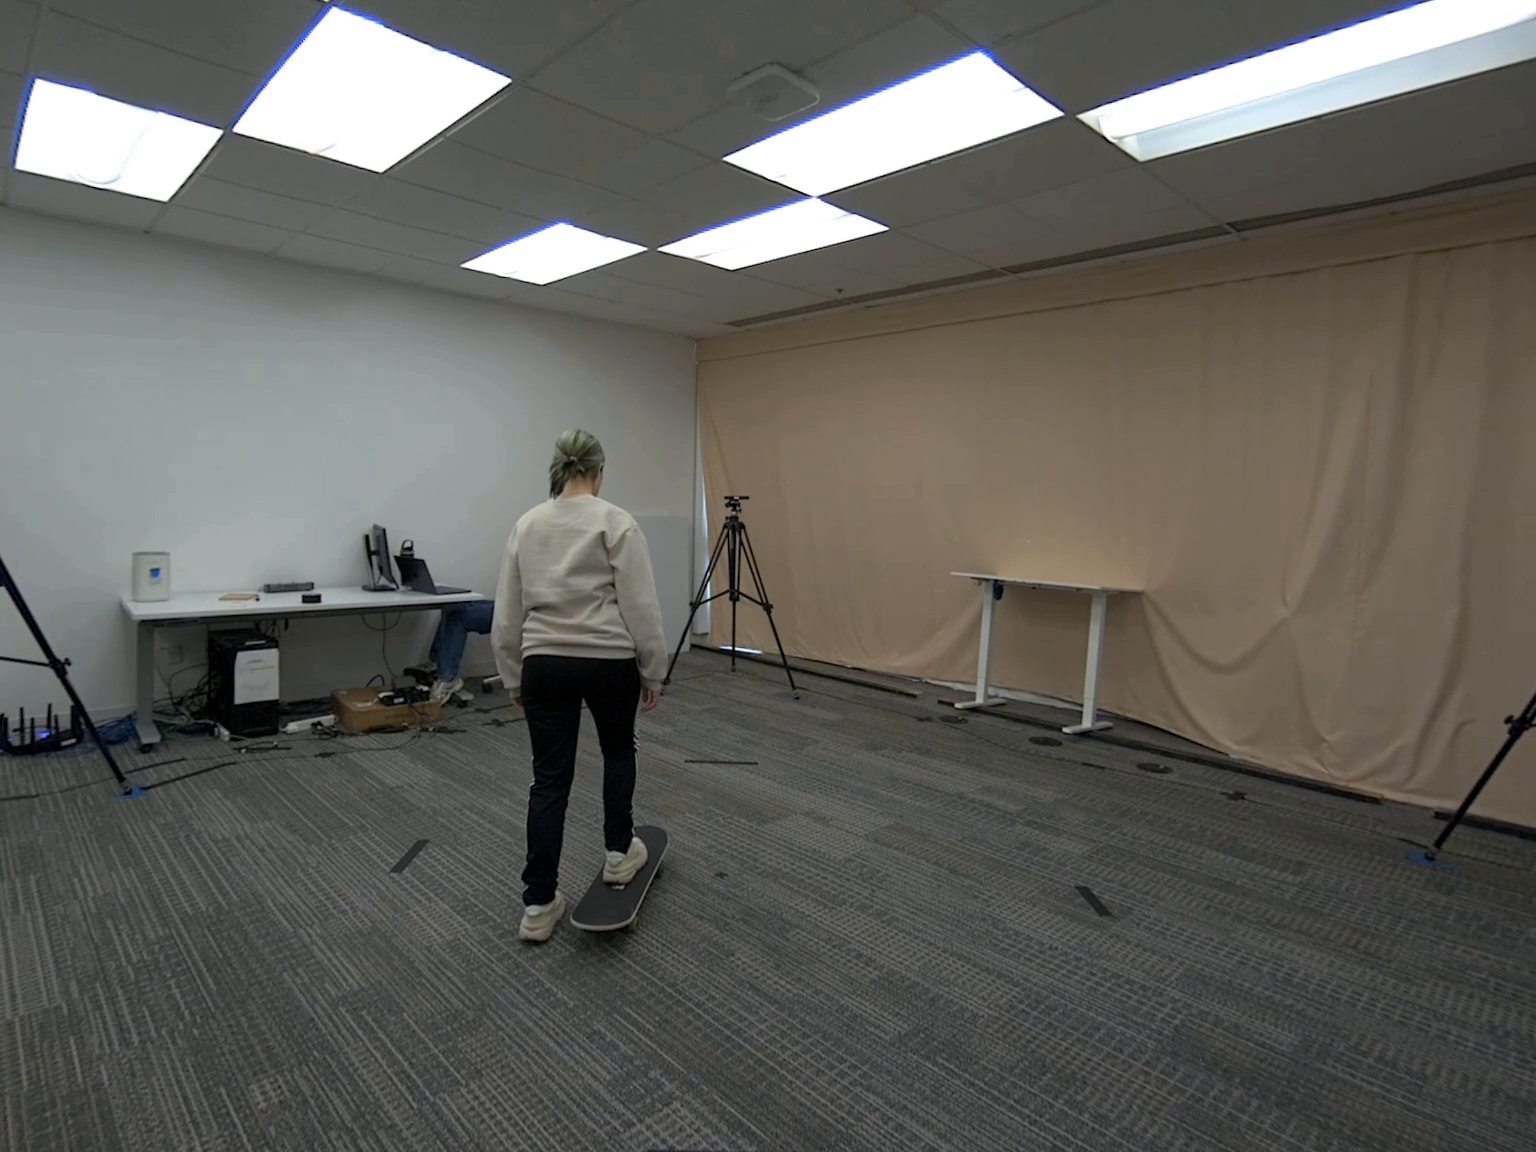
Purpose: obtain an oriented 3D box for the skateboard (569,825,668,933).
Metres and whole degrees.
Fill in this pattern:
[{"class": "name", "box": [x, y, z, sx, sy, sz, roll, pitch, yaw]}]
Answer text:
[{"class": "skateboard", "box": [-0.496, 1.063, 2.893, 0.194, 0.110, 0.785, 0, 5, 3]}]
